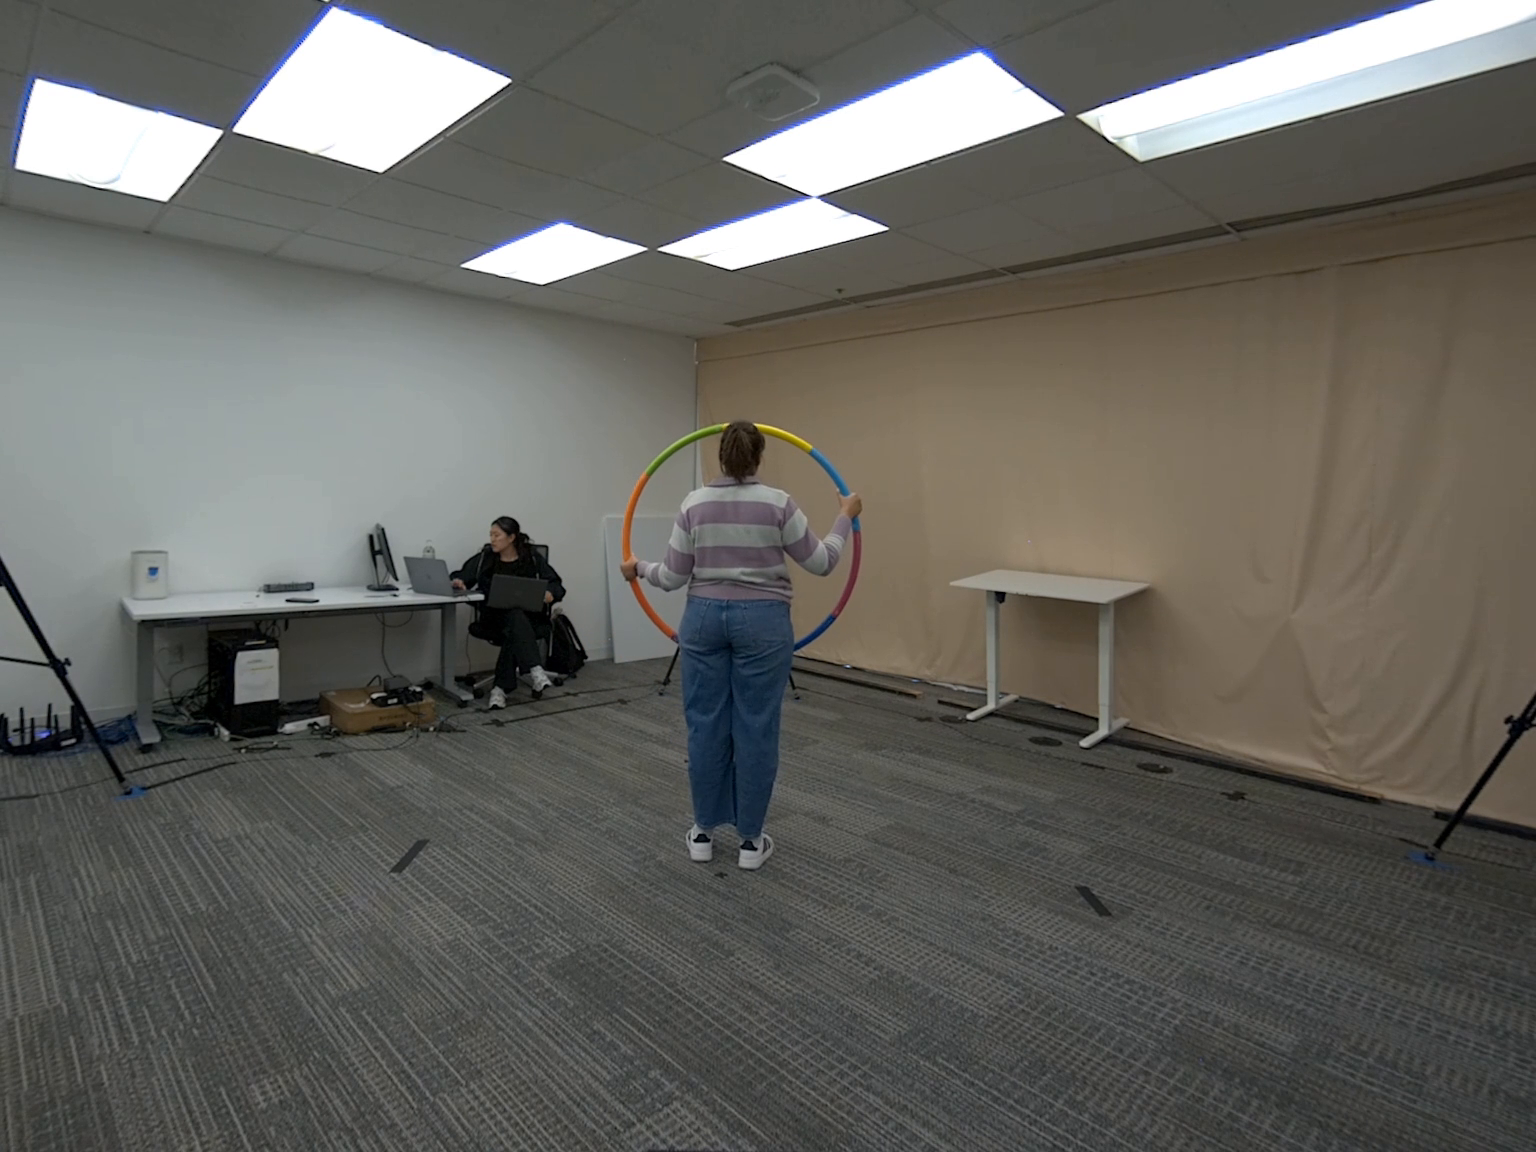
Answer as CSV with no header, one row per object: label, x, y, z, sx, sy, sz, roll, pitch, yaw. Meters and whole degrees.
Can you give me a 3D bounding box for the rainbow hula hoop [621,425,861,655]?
rainbow hula hoop,-0.120,-0.129,3.437,0.984,0.972,0.035,2,9,7
